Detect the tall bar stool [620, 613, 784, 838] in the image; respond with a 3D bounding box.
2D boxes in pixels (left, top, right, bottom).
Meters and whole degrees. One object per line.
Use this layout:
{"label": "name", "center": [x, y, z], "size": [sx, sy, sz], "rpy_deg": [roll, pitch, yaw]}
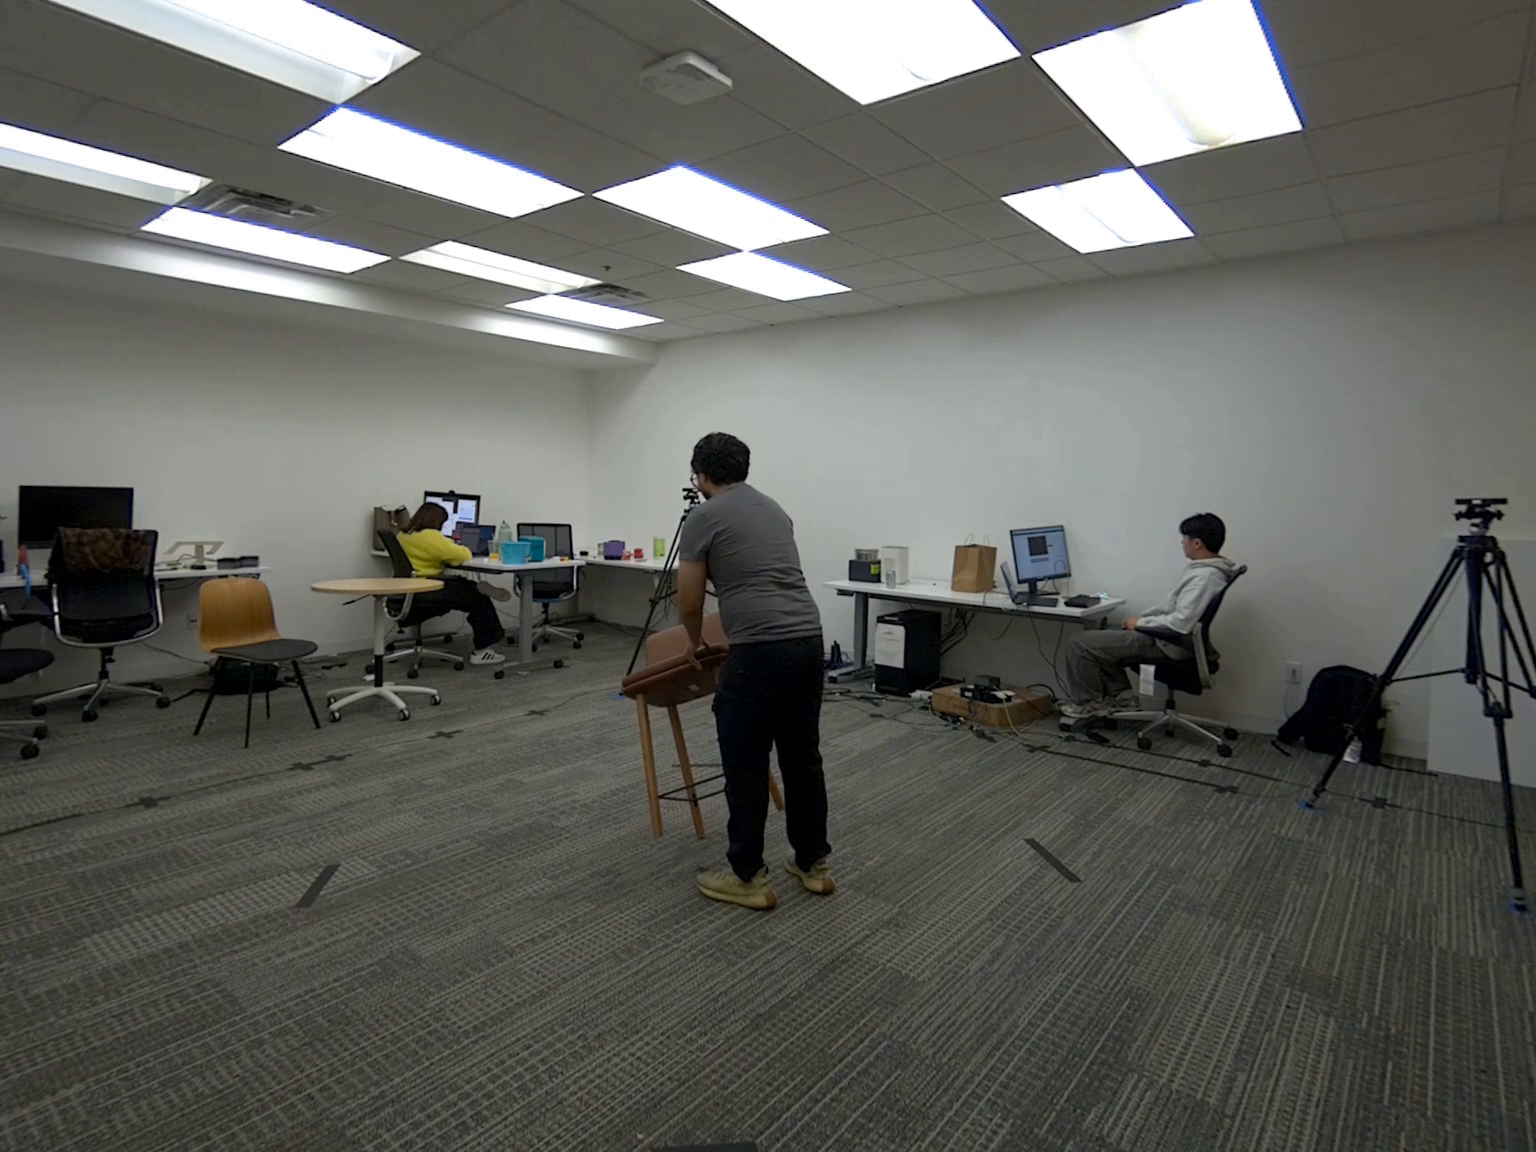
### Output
{"label": "tall bar stool", "center": [-0.297, 0.533, 3.353], "size": [0.460, 0.915, 0.451], "rpy_deg": [-22, -25, 11]}
